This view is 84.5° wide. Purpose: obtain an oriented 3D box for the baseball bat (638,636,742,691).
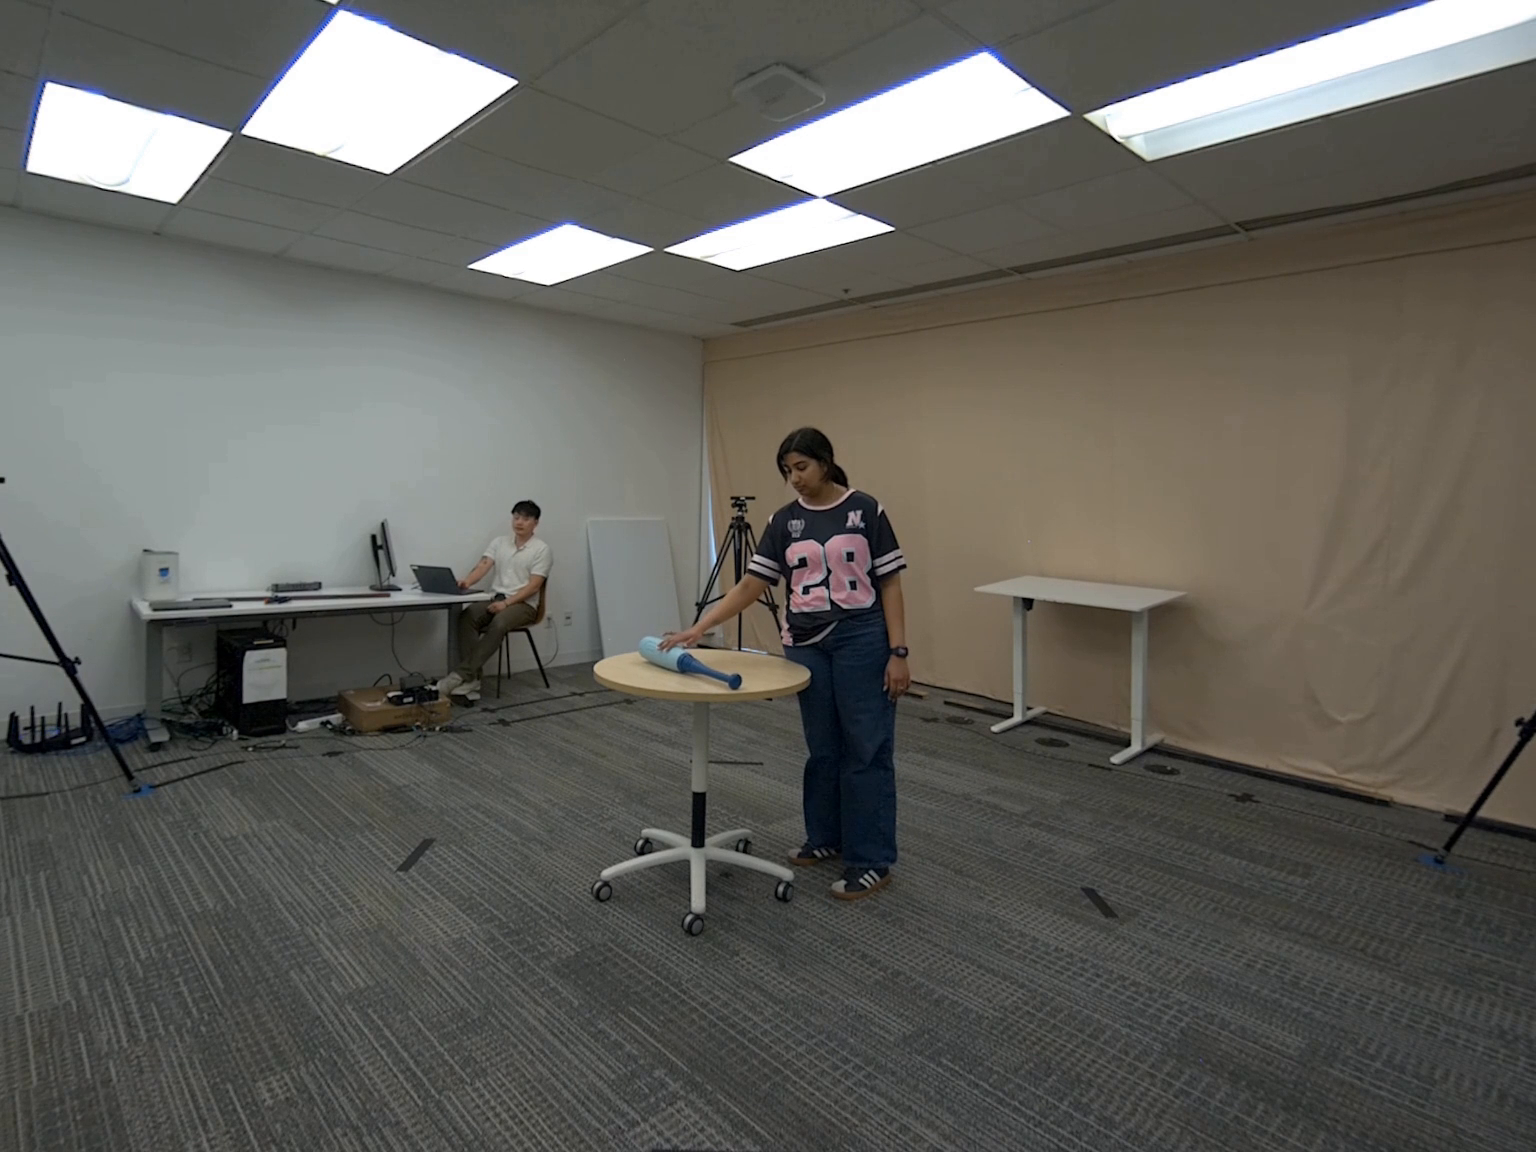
[{"bbox_3d":[-0.278,0.303,2.874,0.087,0.088,0.558,-2,9,-38],"label":"baseball bat"}]
